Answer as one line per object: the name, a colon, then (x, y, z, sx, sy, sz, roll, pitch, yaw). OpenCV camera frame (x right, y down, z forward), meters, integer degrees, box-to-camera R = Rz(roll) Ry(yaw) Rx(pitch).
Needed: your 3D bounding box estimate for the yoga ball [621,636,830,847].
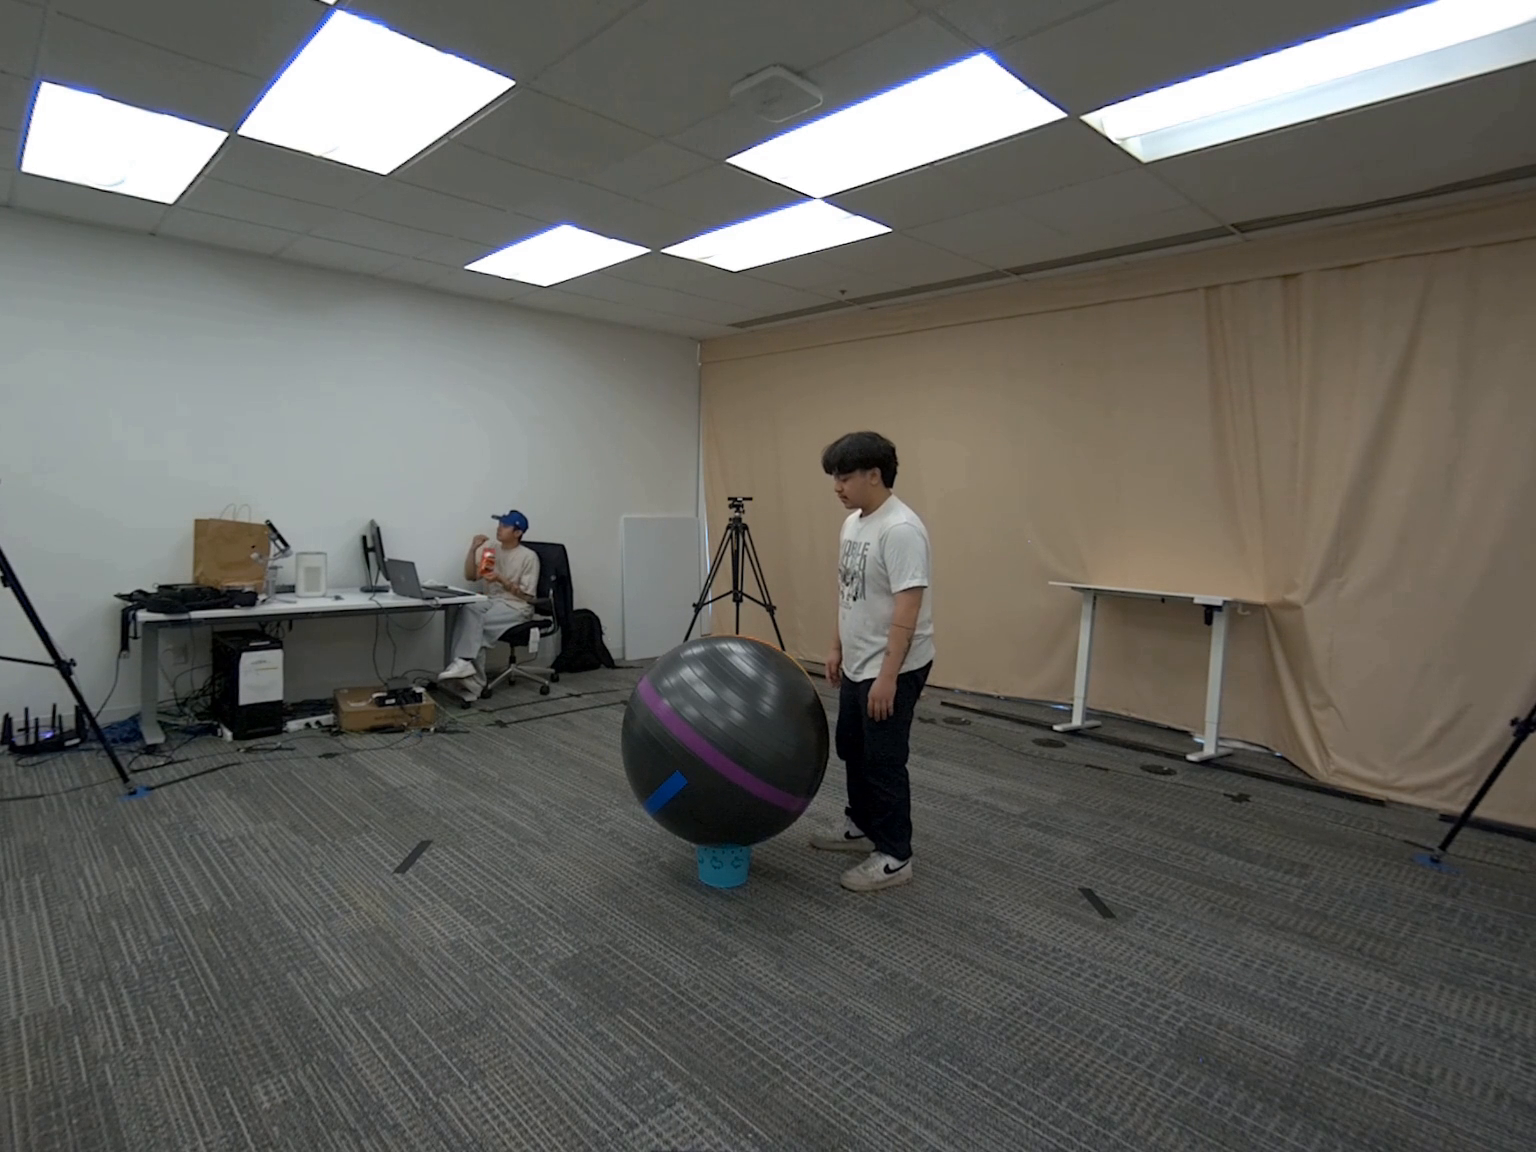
yoga ball: (-0.163, 0.599, 3.087, 0.757, 0.756, 0.761, 1, 4, -1)
